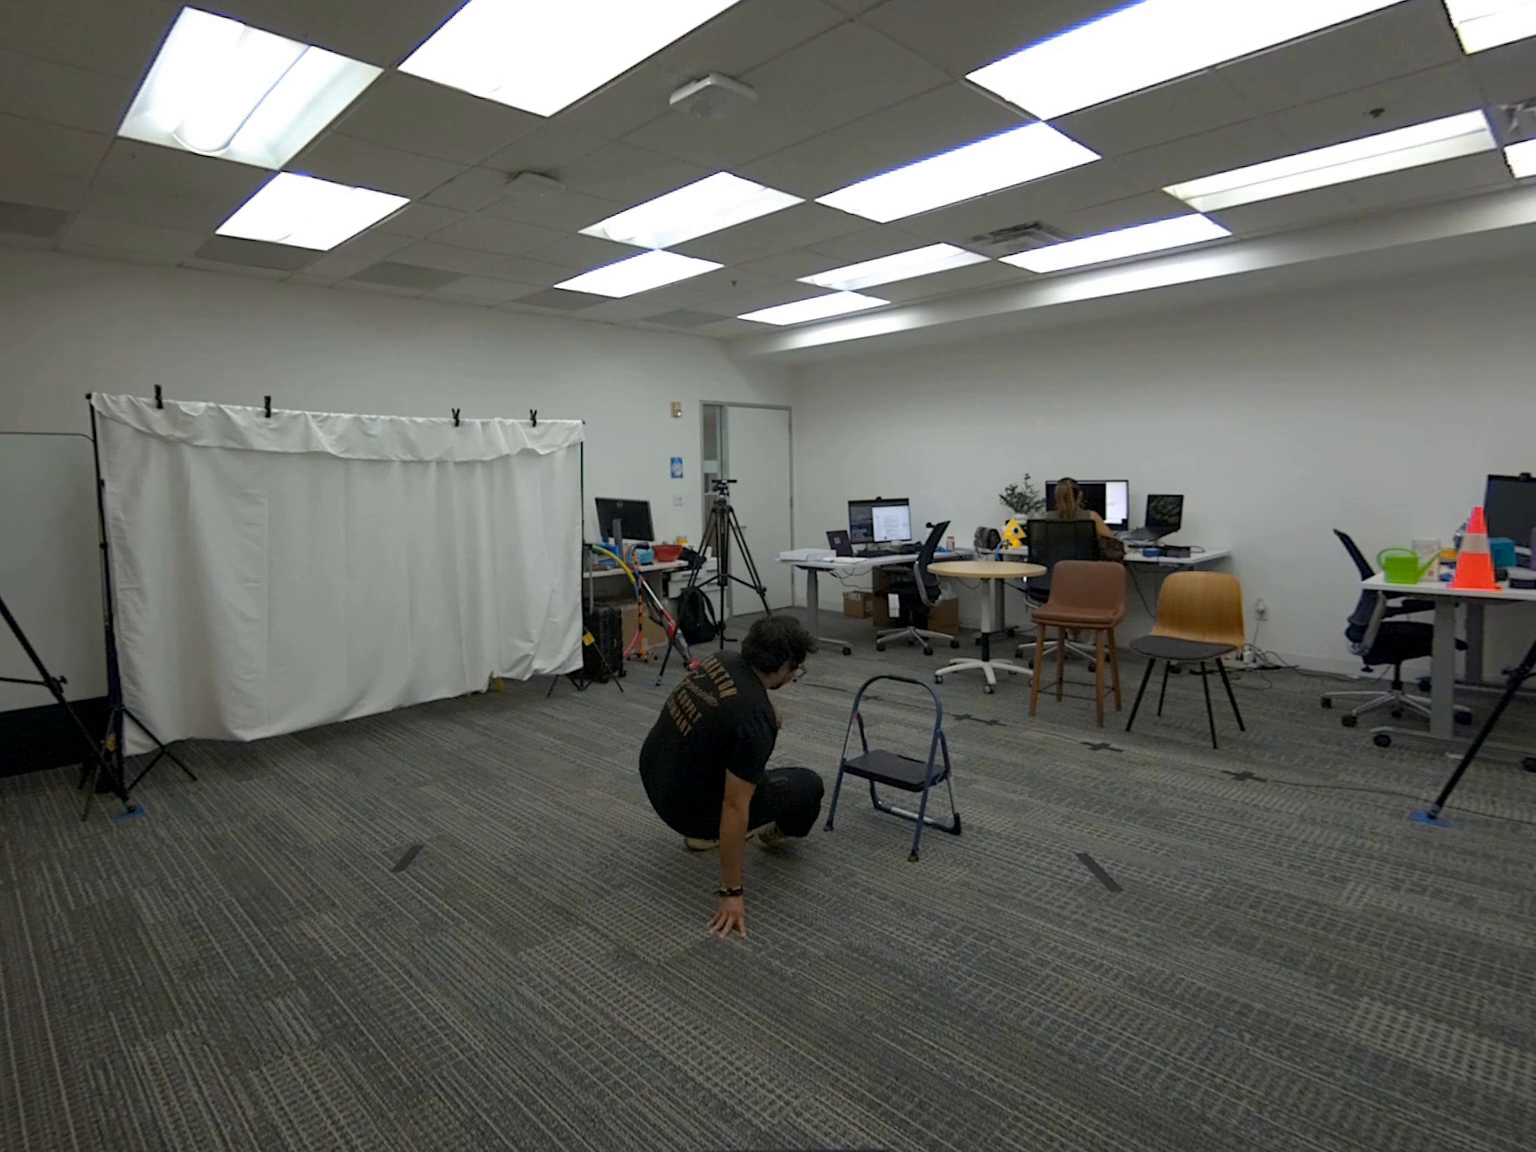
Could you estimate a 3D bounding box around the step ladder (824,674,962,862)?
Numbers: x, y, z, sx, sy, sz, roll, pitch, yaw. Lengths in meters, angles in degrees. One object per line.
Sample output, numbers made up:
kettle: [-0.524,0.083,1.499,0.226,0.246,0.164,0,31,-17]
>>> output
step ladder: [0.491,0.709,3.353,0.444,0.604,0.340,4,6,44]
